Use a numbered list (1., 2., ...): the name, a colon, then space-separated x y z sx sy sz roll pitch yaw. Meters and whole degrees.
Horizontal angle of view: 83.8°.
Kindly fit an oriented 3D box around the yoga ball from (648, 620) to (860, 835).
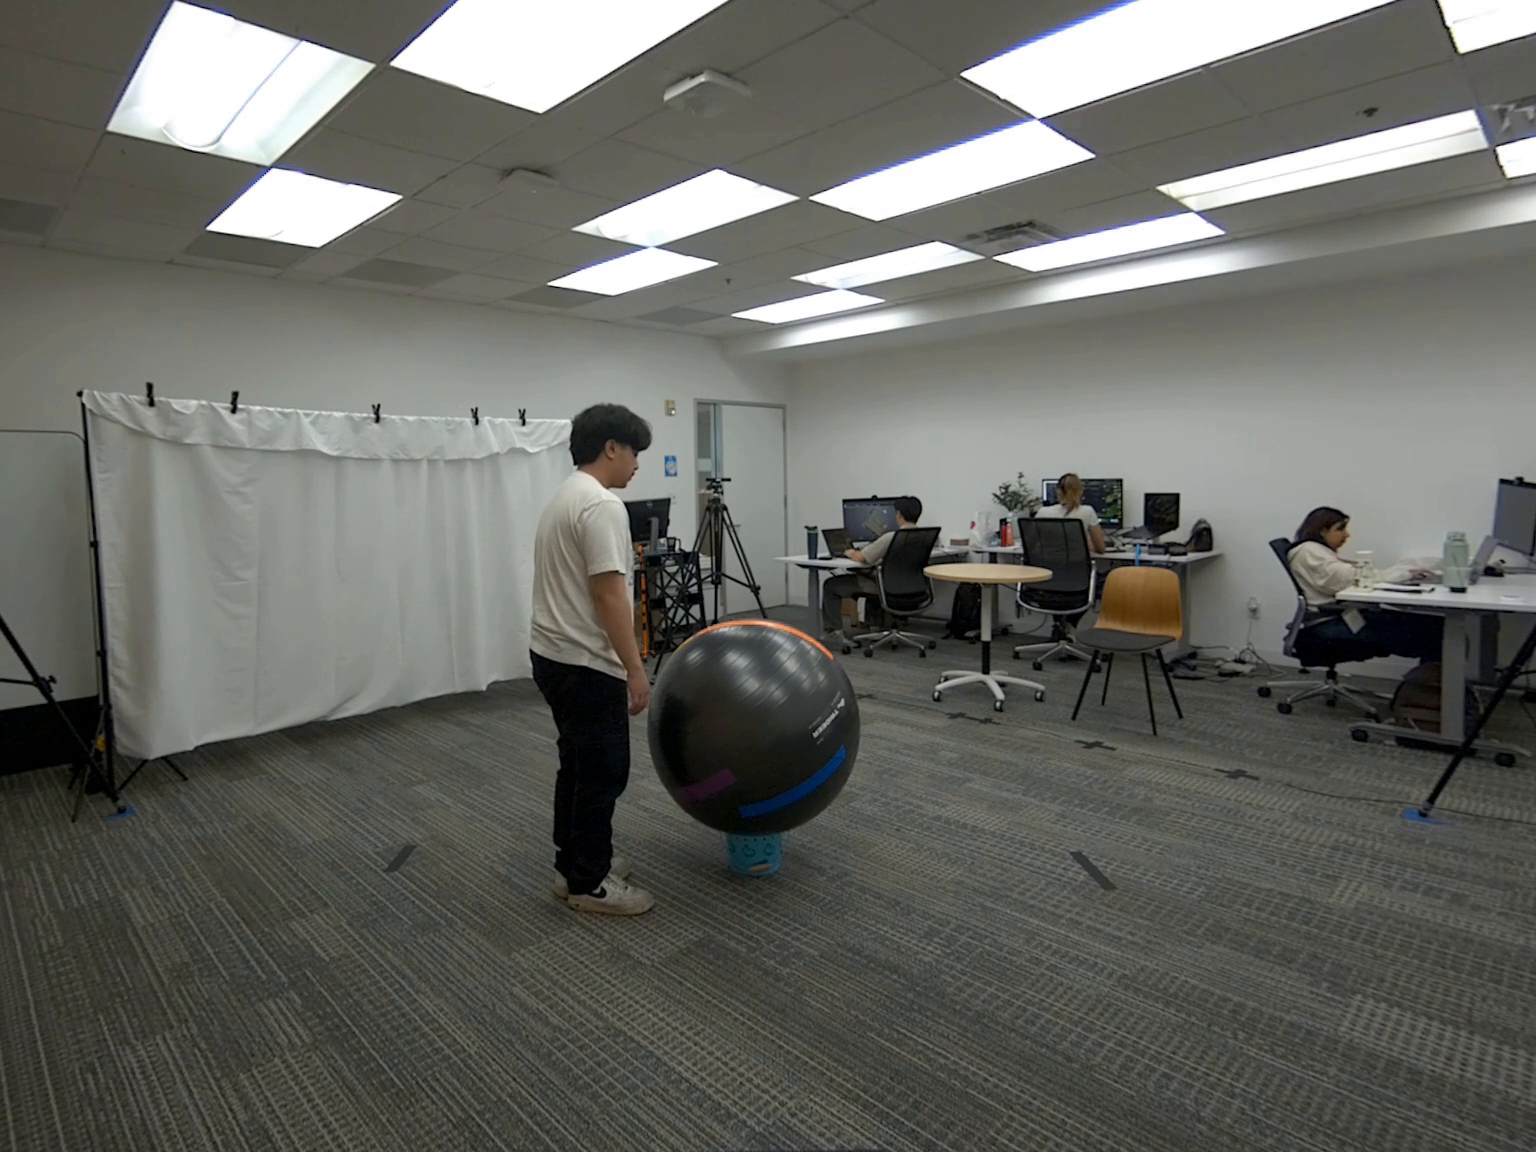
1. yoga ball: -0.056 0.535 3.056 0.757 0.755 0.762 -1 5 -2
